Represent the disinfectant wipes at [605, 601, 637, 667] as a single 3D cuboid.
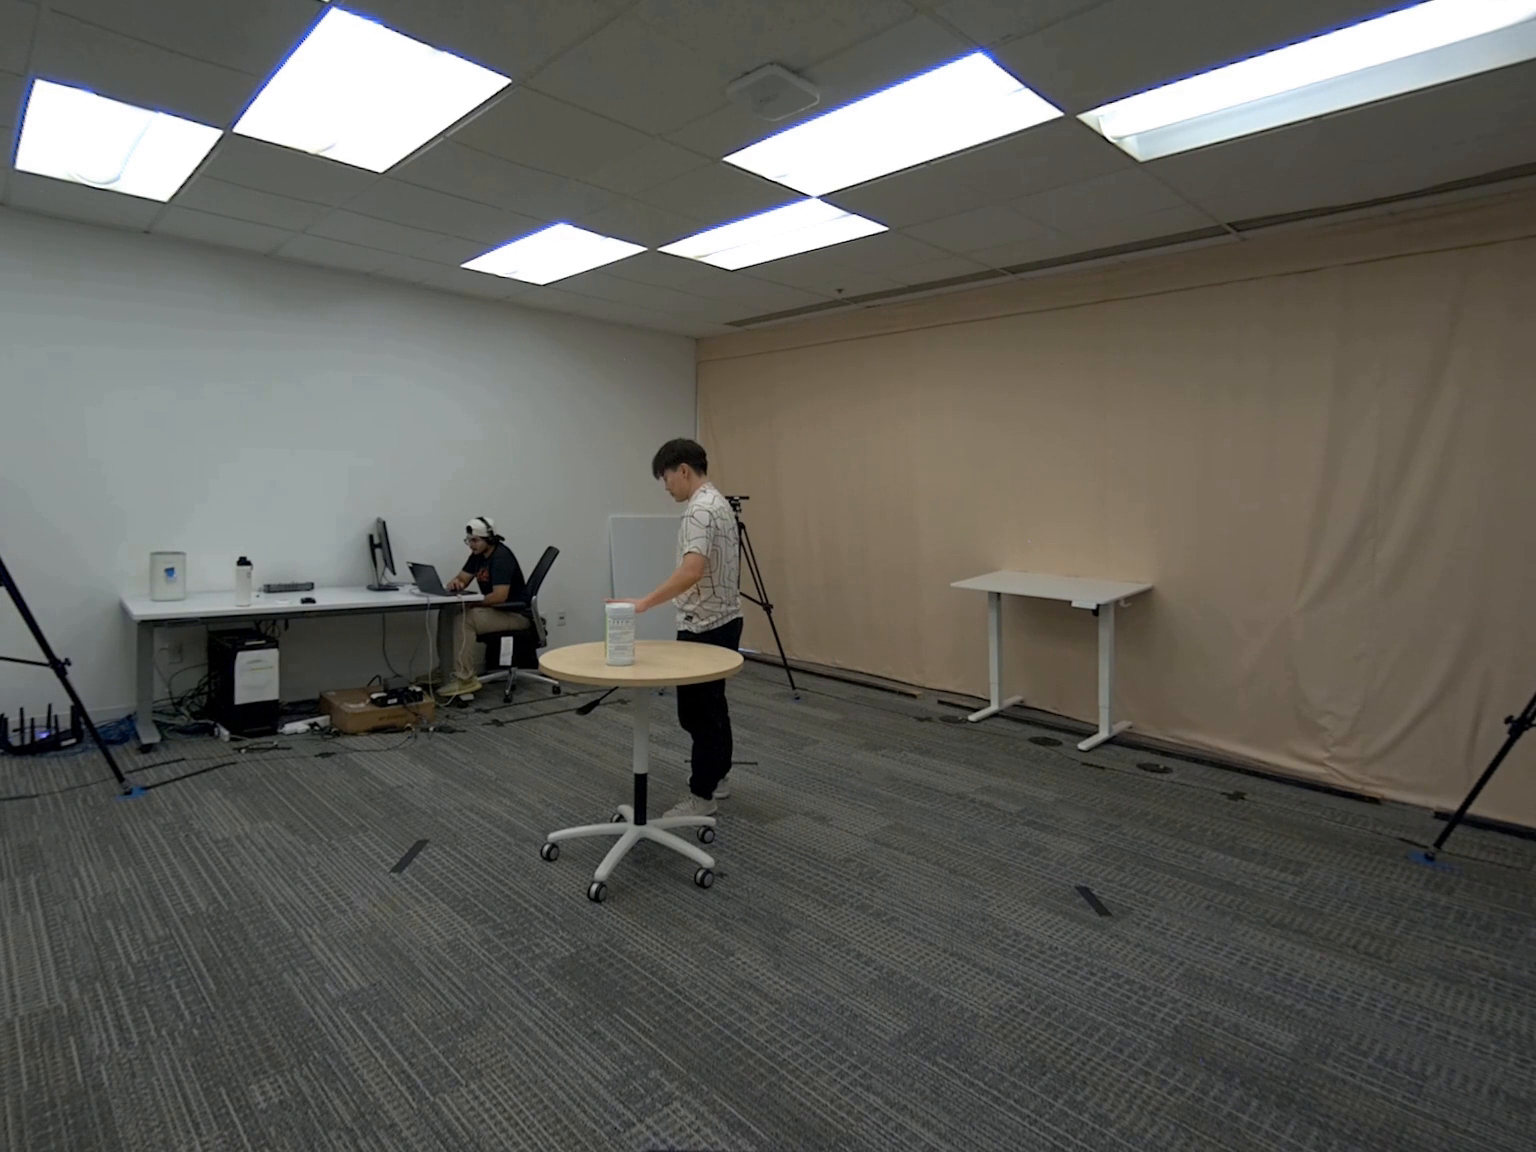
[{"bbox_3d":[-0.544,0.214,3.052,0.118,0.217,0.118,1,4,-1],"label":"disinfectant wipes"}]
